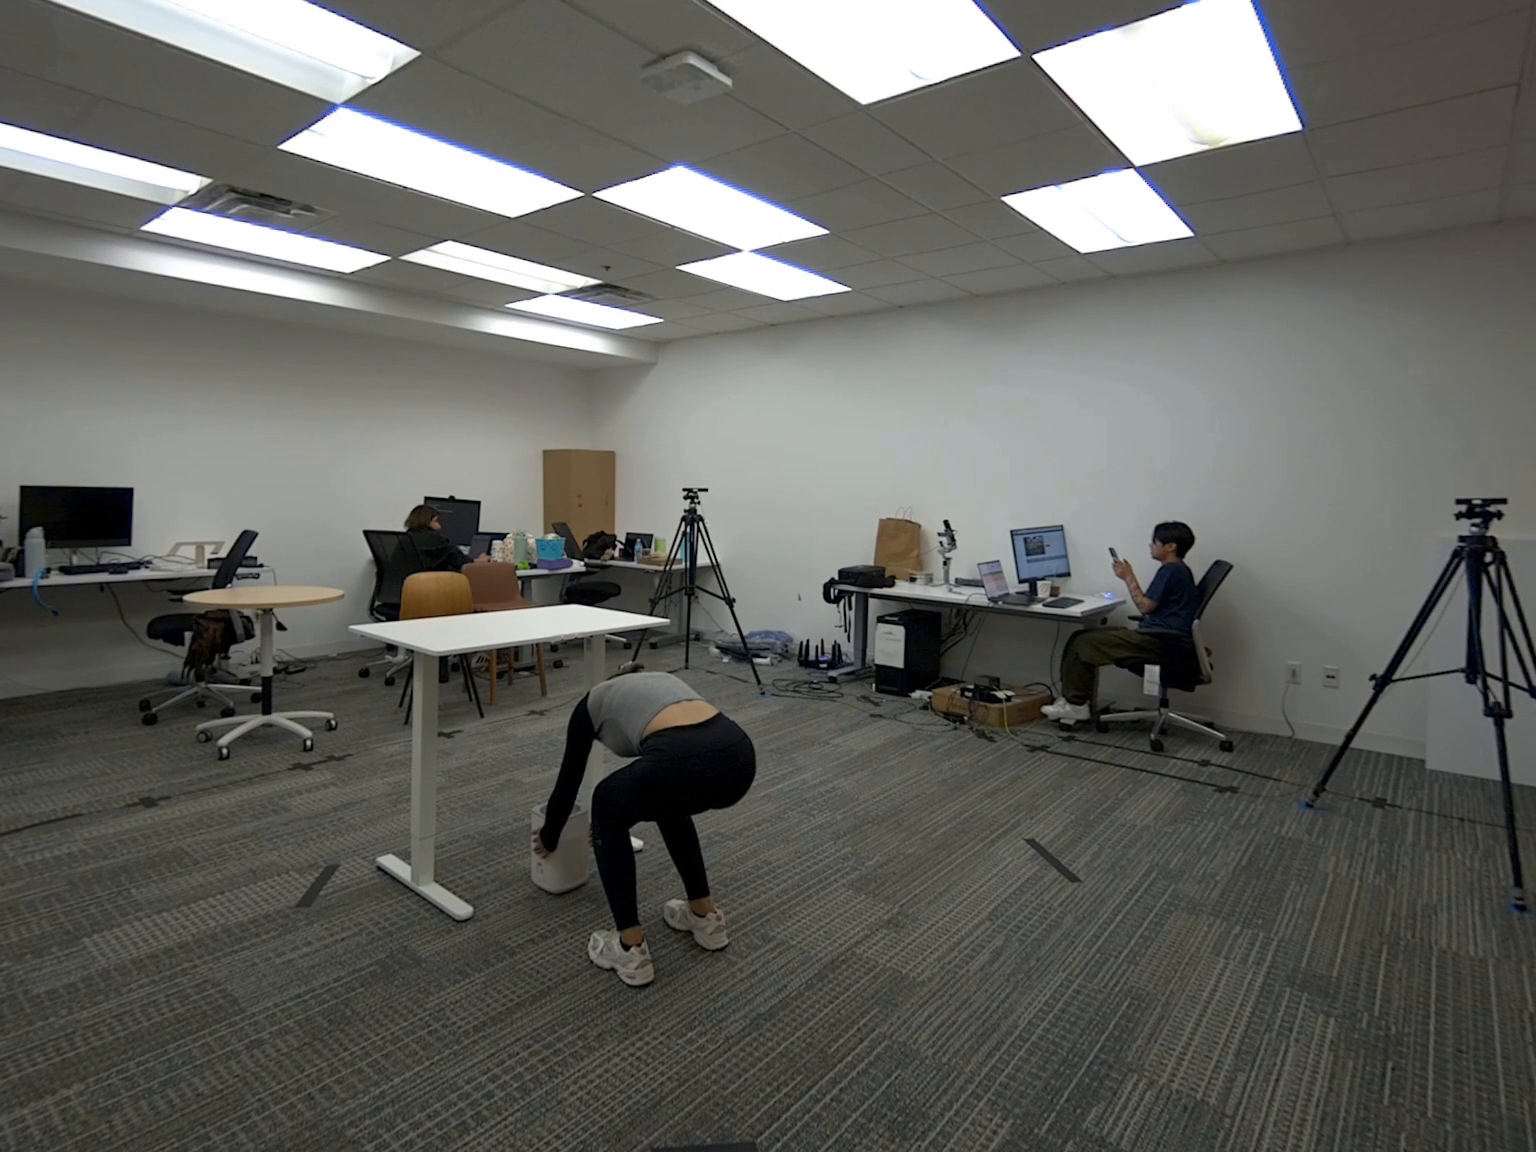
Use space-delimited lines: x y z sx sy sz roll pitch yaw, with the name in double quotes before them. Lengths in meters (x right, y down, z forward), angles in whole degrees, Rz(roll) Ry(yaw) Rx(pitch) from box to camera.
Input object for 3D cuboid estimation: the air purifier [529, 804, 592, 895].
"air purifier" -0.739 0.941 2.964 0.176 0.265 0.166 2 4 39
